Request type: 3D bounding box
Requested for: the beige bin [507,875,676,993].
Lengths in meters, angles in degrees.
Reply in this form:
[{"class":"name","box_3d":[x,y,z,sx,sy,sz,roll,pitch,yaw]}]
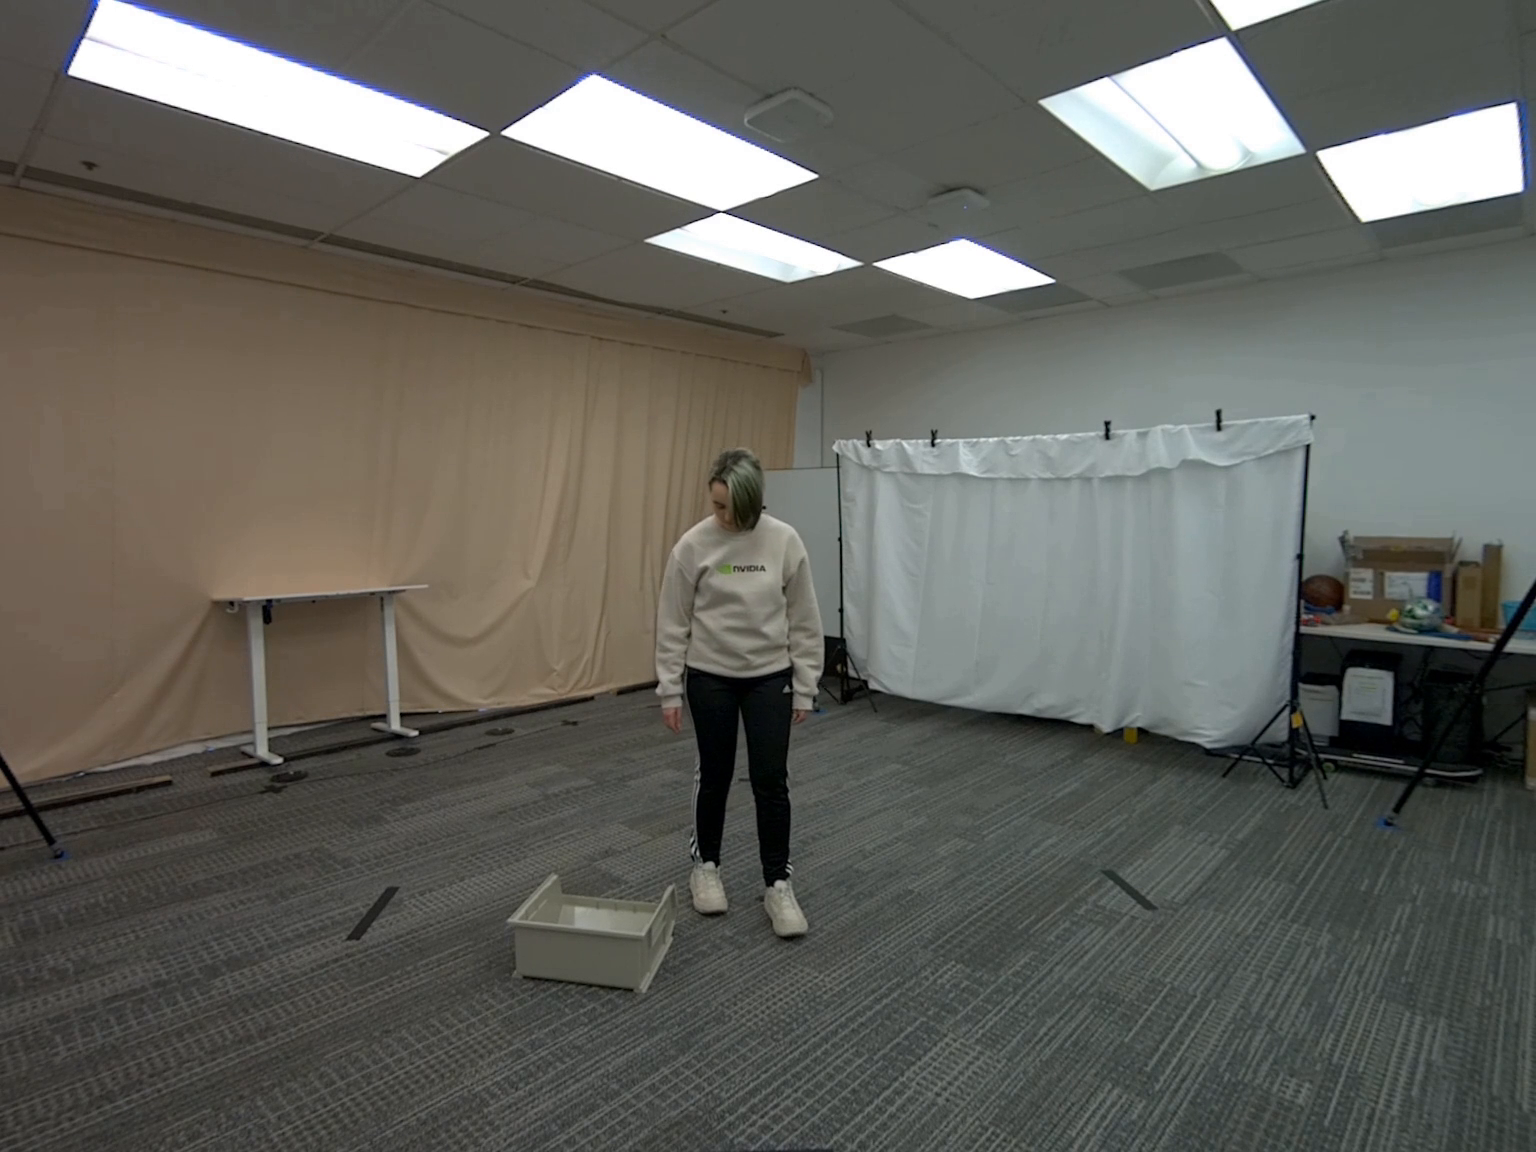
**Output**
[{"class":"beige bin","box_3d":[-0.530,1.092,2.608,0.427,0.188,0.374,1,5,10]}]
